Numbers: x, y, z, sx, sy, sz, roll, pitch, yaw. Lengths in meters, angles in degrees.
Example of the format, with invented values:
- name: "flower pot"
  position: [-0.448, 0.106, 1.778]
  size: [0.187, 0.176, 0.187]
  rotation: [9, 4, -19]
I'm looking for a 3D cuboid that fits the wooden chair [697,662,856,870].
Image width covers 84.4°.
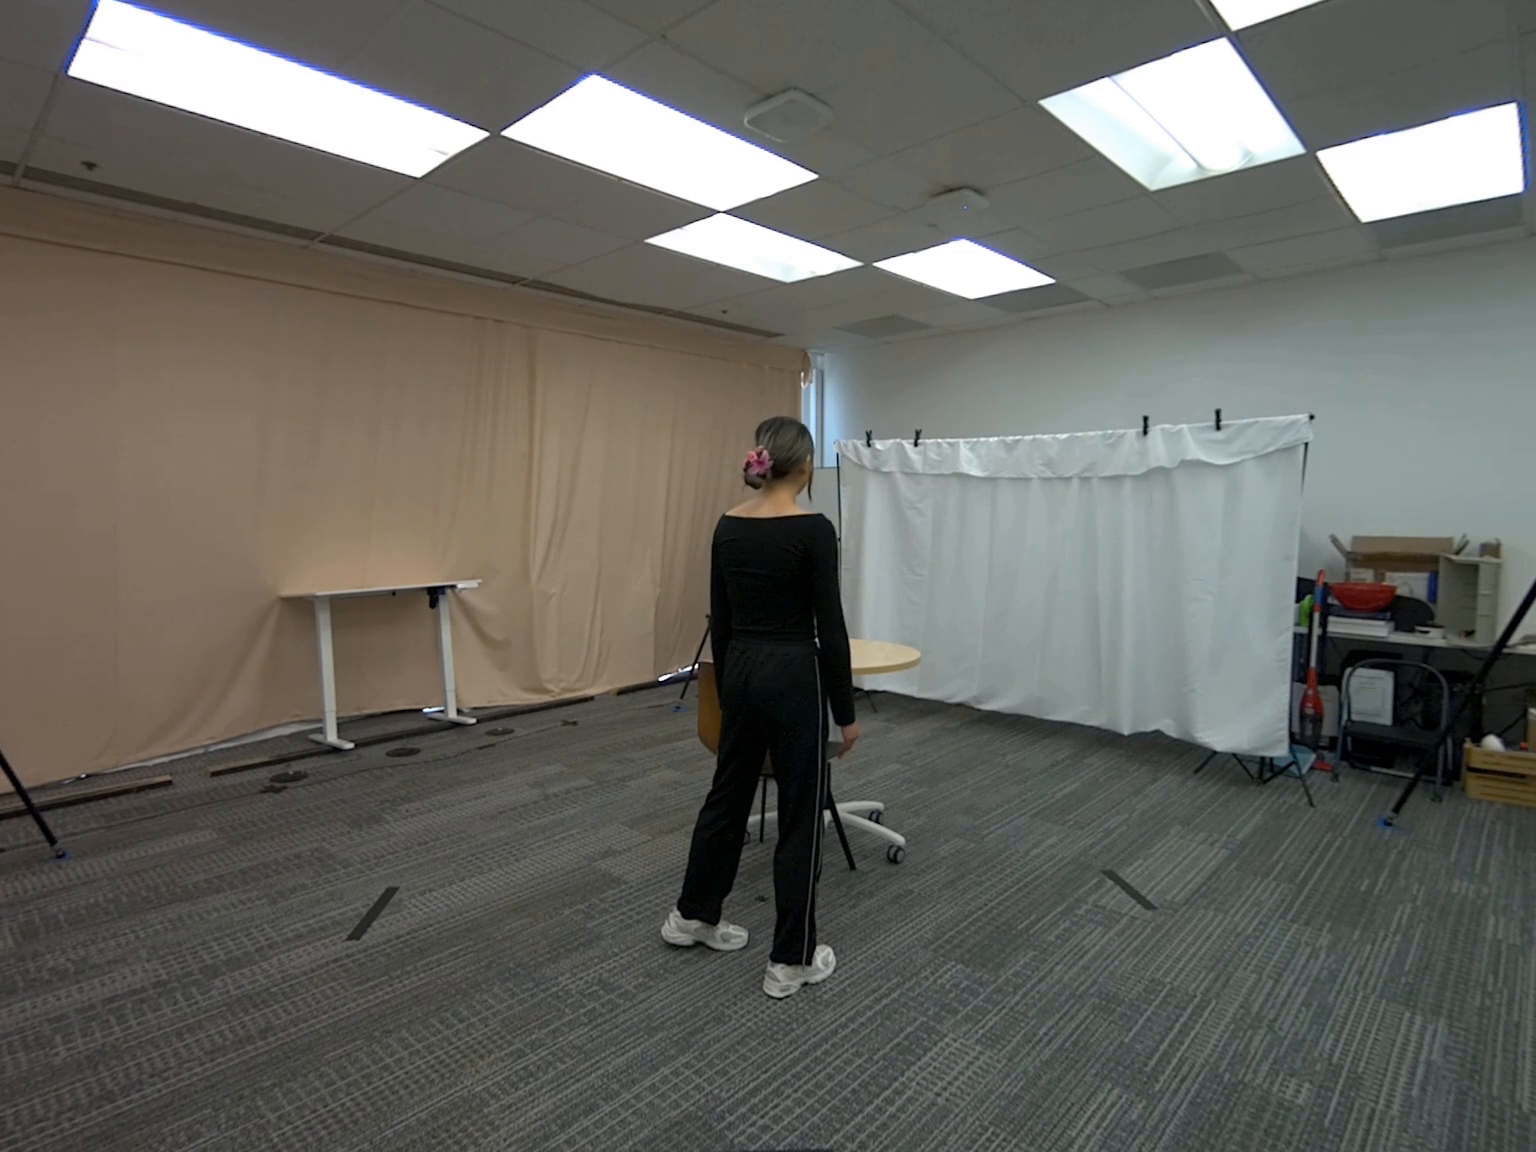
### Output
- name: "wooden chair"
  position: [0.027, 0.699, 3.159]
  size: [0.493, 0.873, 0.509]
  rotation: [2, 8, 39]
